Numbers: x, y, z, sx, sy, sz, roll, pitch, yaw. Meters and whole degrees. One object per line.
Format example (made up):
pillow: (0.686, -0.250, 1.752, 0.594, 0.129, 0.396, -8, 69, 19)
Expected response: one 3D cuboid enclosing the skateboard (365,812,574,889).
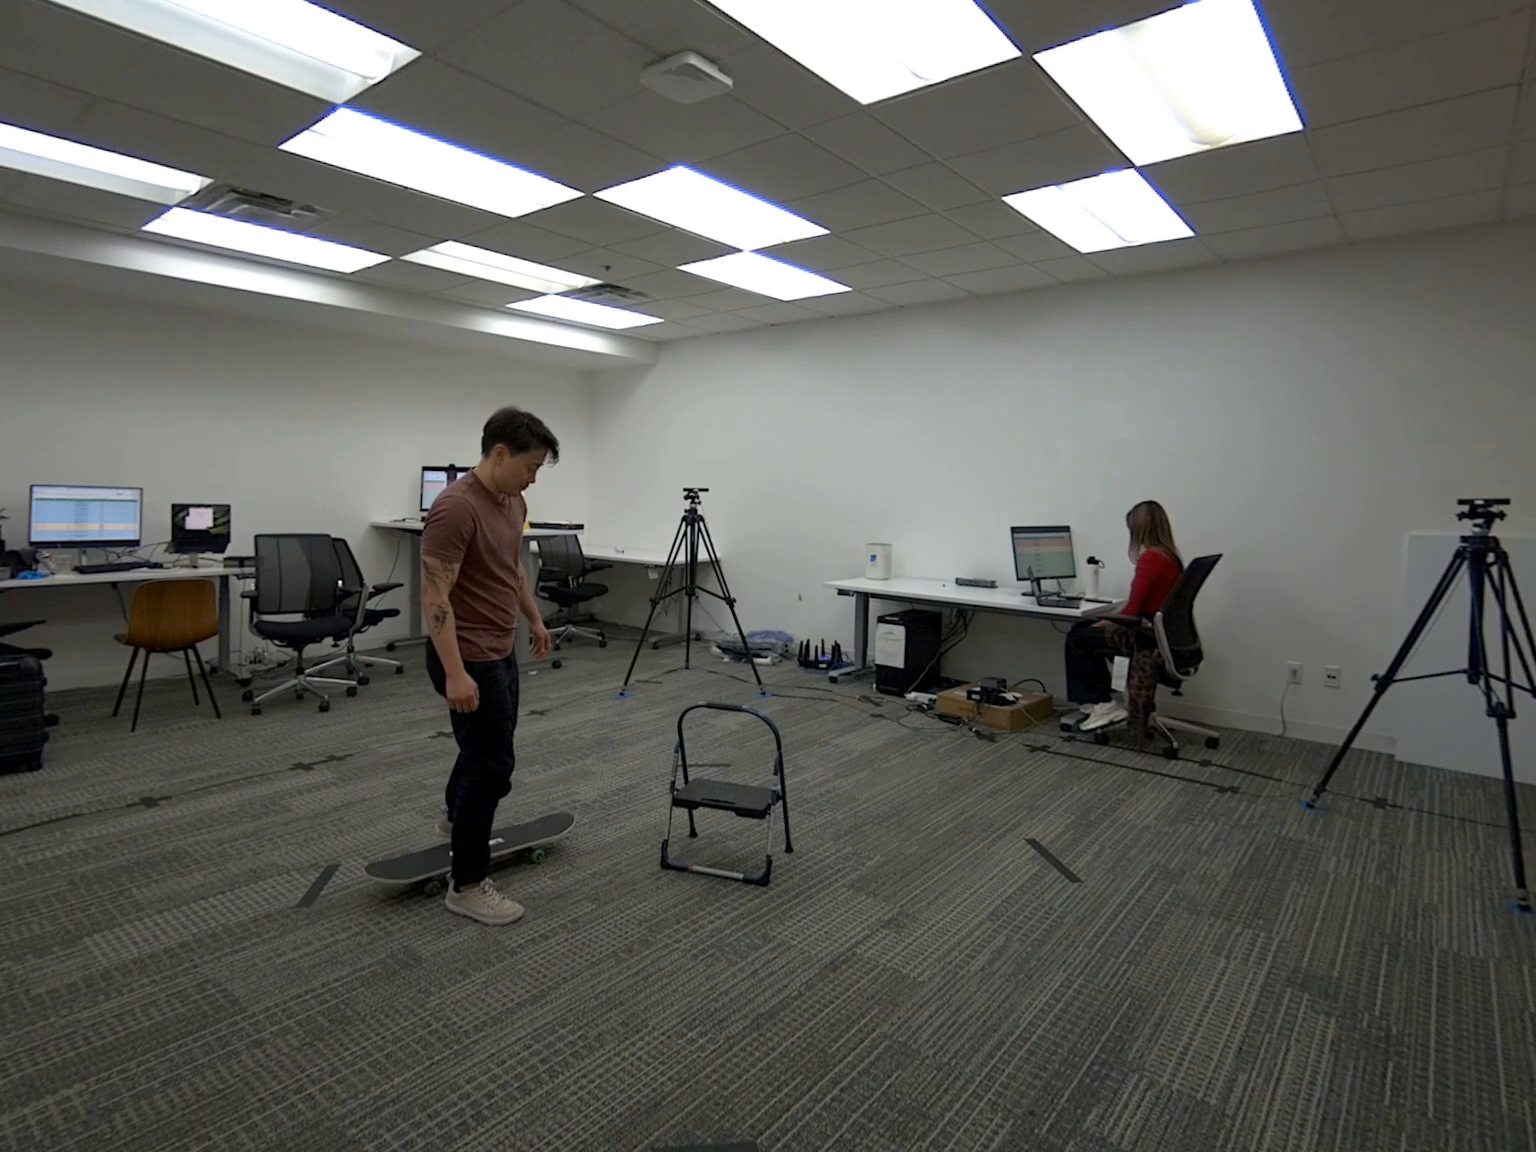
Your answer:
skateboard: (-1.058, 1.009, 3.064, 0.762, 0.110, 0.200, -4, 7, -42)
